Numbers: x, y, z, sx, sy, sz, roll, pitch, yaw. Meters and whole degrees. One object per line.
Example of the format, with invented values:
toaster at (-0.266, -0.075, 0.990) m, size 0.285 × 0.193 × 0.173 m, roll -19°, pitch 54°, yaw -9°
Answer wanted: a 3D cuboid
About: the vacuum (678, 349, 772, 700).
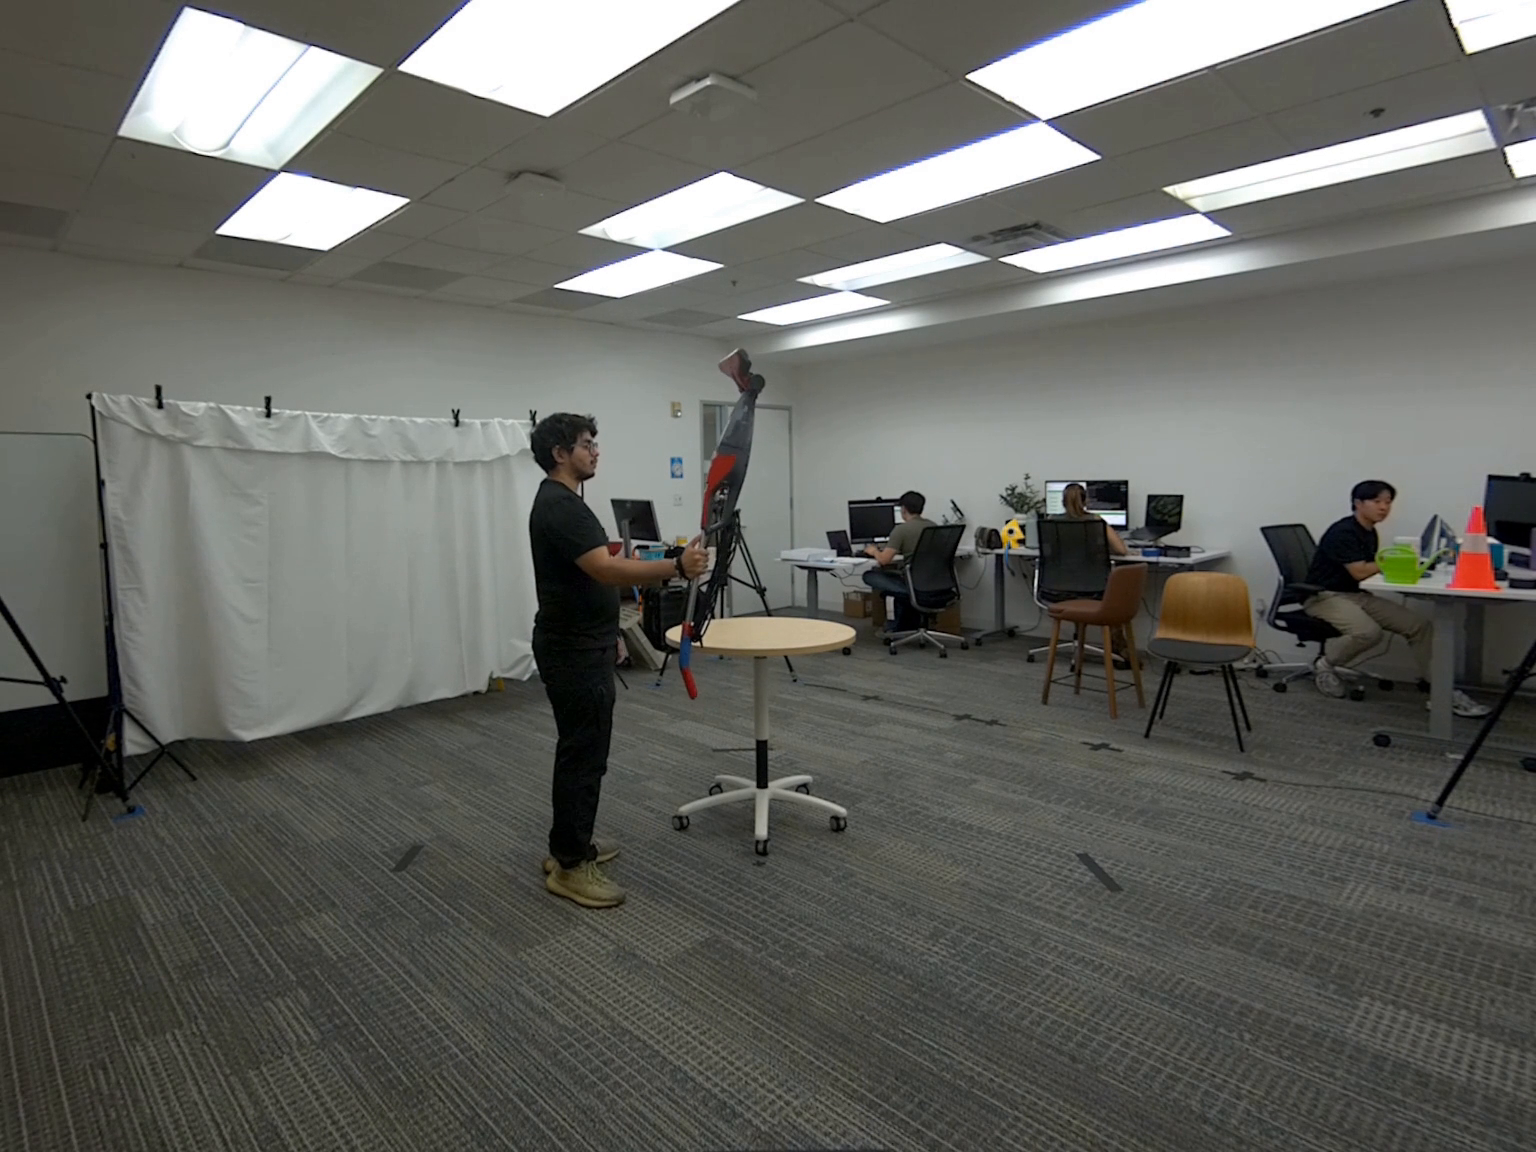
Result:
vacuum at (-0.155, -0.143, 2.718) m, size 0.142 × 1.049 × 0.255 m, roll 9°, pitch 0°, yaw -11°
